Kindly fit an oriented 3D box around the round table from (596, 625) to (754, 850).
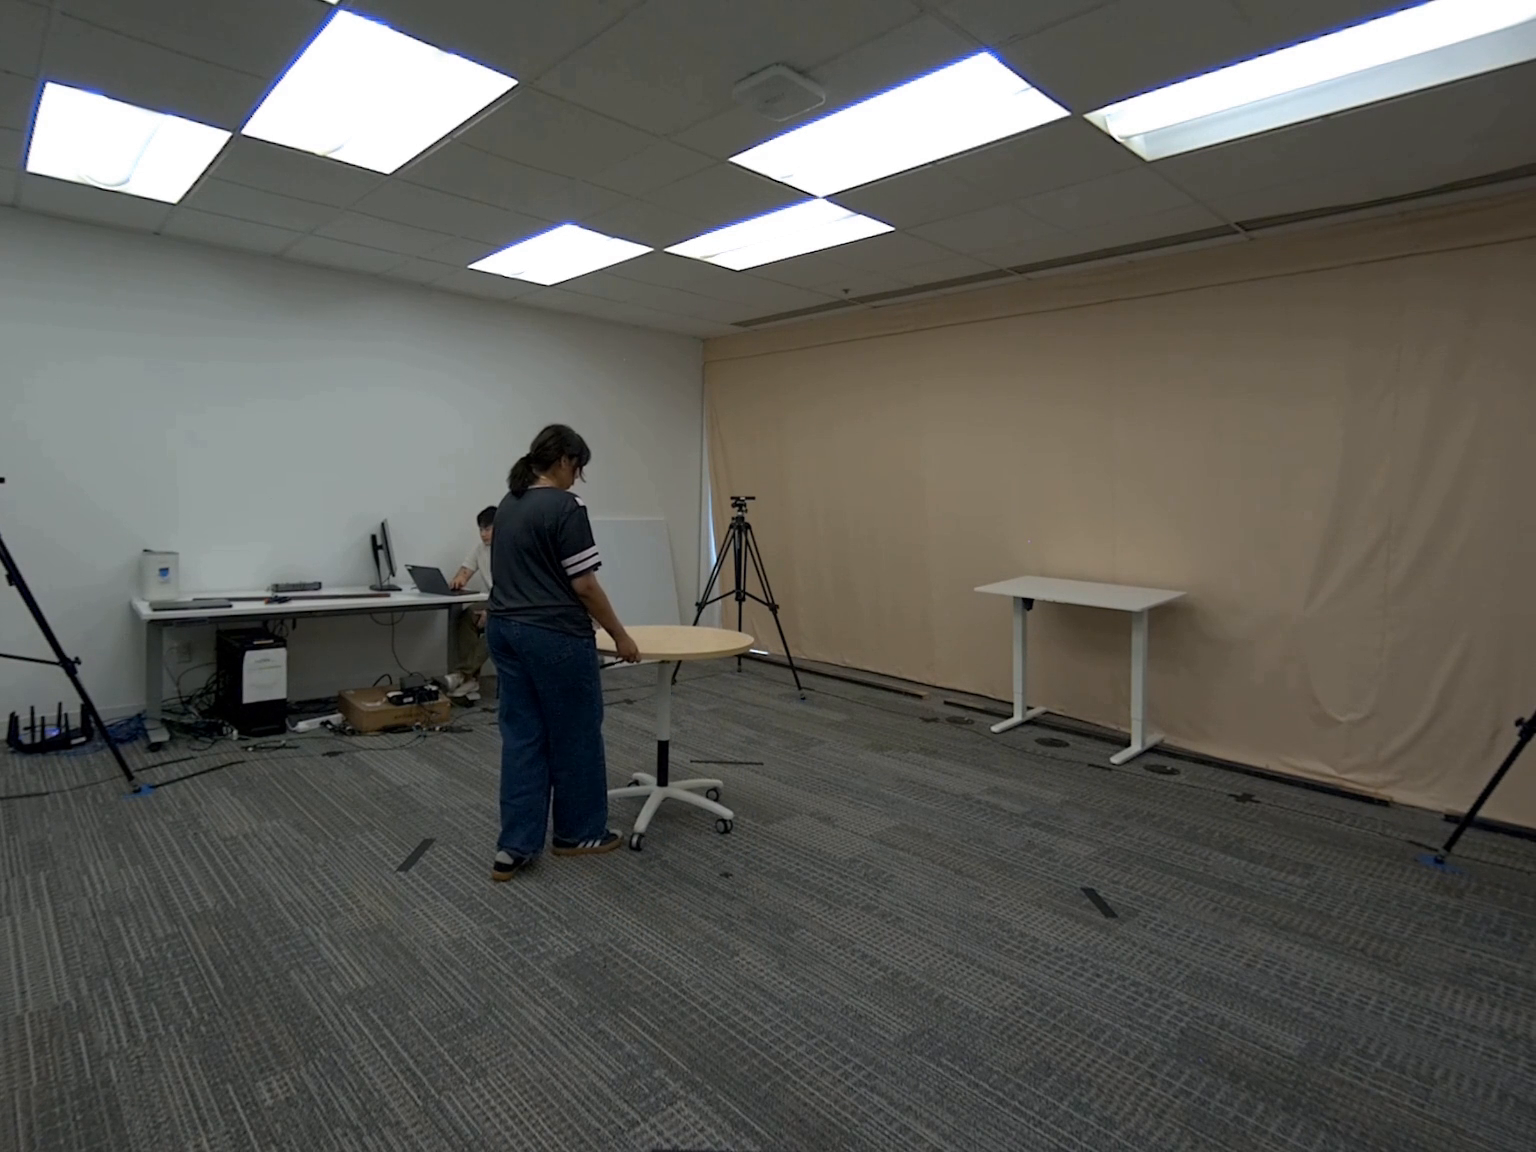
[{"bbox_3d":[-0.455,0.660,3.637,0.763,0.792,0.766,1,4,-1],"label":"round table"}]
